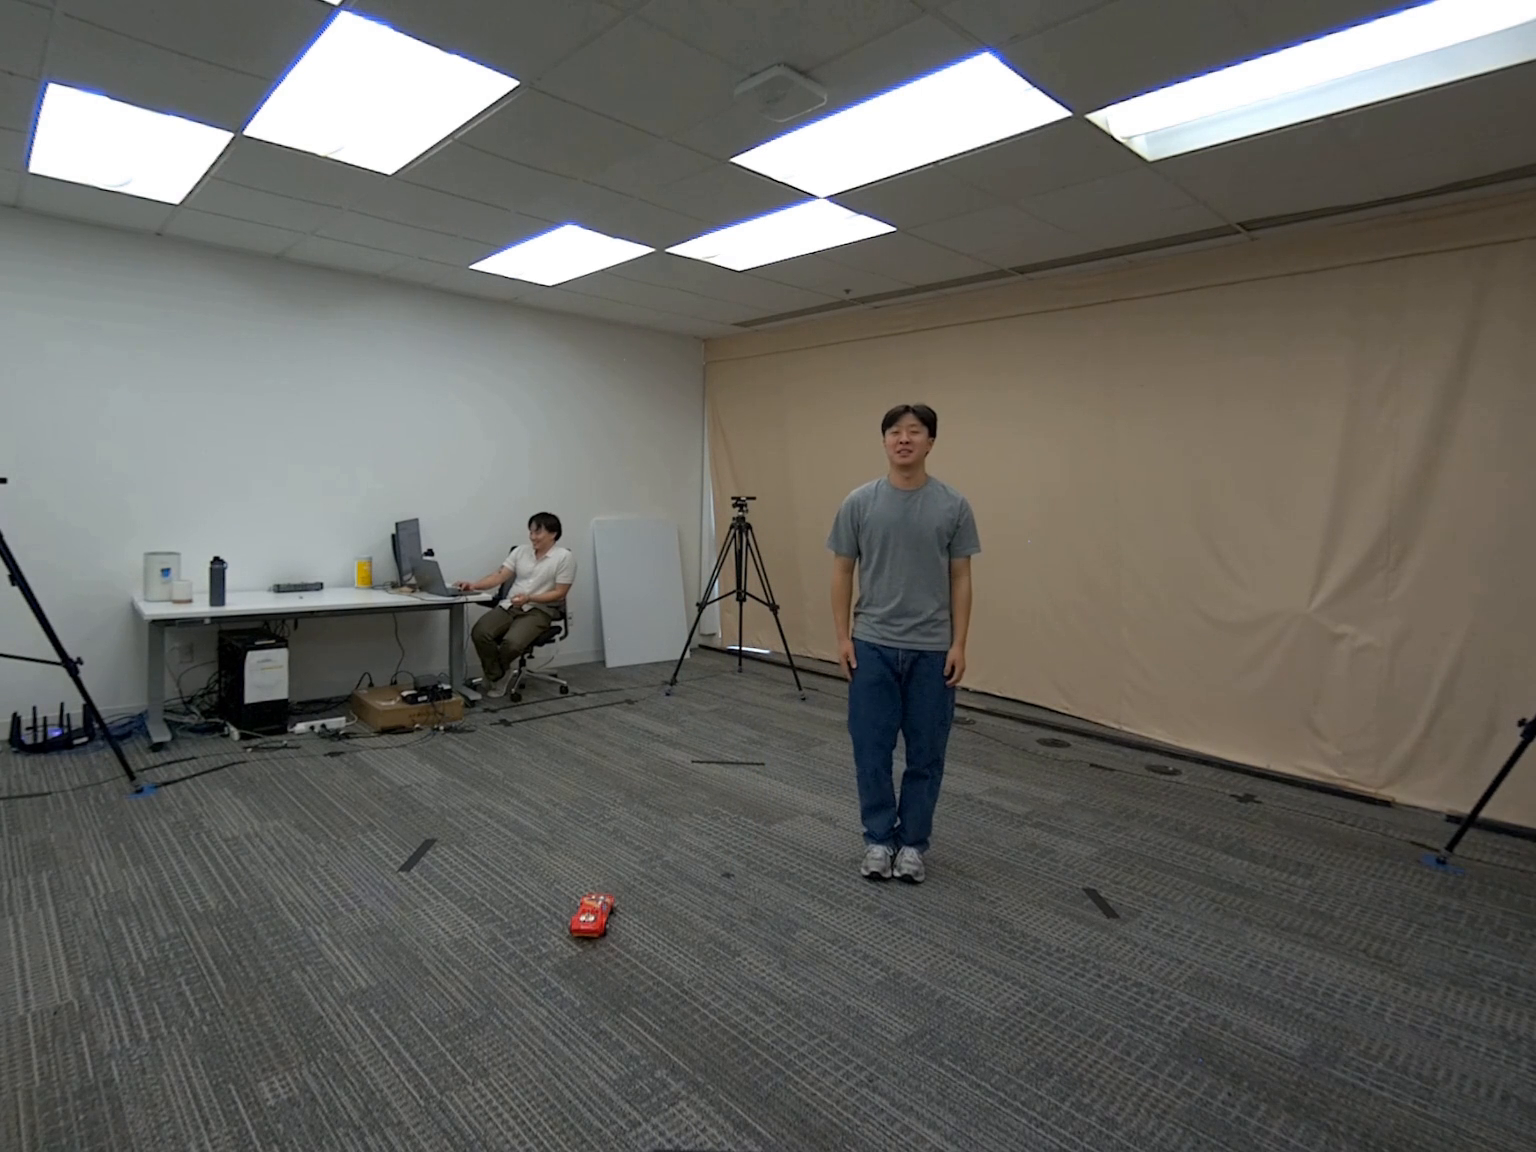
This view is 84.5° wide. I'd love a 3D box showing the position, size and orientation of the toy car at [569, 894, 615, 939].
[{"bbox_3d":[-0.584,1.103,2.707,0.130,0.083,0.253,2,-6,-1],"label":"toy car"}]
